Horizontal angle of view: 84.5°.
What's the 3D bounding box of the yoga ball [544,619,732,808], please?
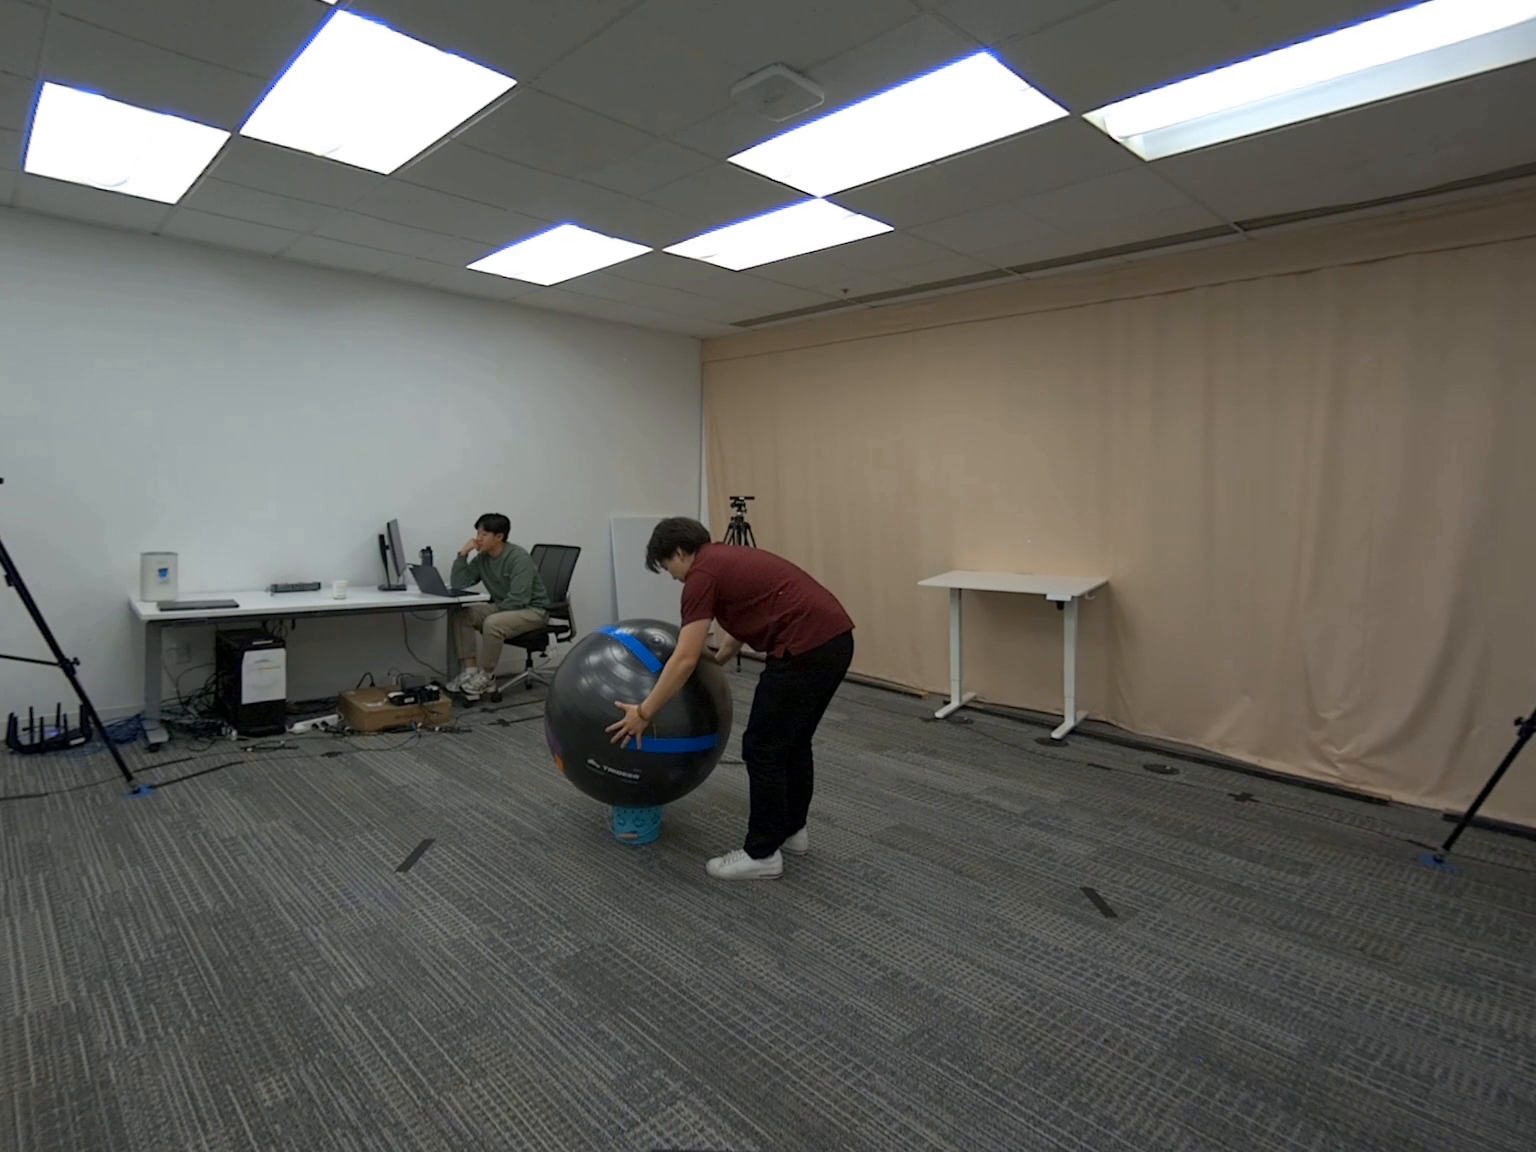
[{"bbox_3d":[-0.526,0.562,3.432,0.757,0.756,0.761,1,4,-1],"label":"yoga ball"}]
